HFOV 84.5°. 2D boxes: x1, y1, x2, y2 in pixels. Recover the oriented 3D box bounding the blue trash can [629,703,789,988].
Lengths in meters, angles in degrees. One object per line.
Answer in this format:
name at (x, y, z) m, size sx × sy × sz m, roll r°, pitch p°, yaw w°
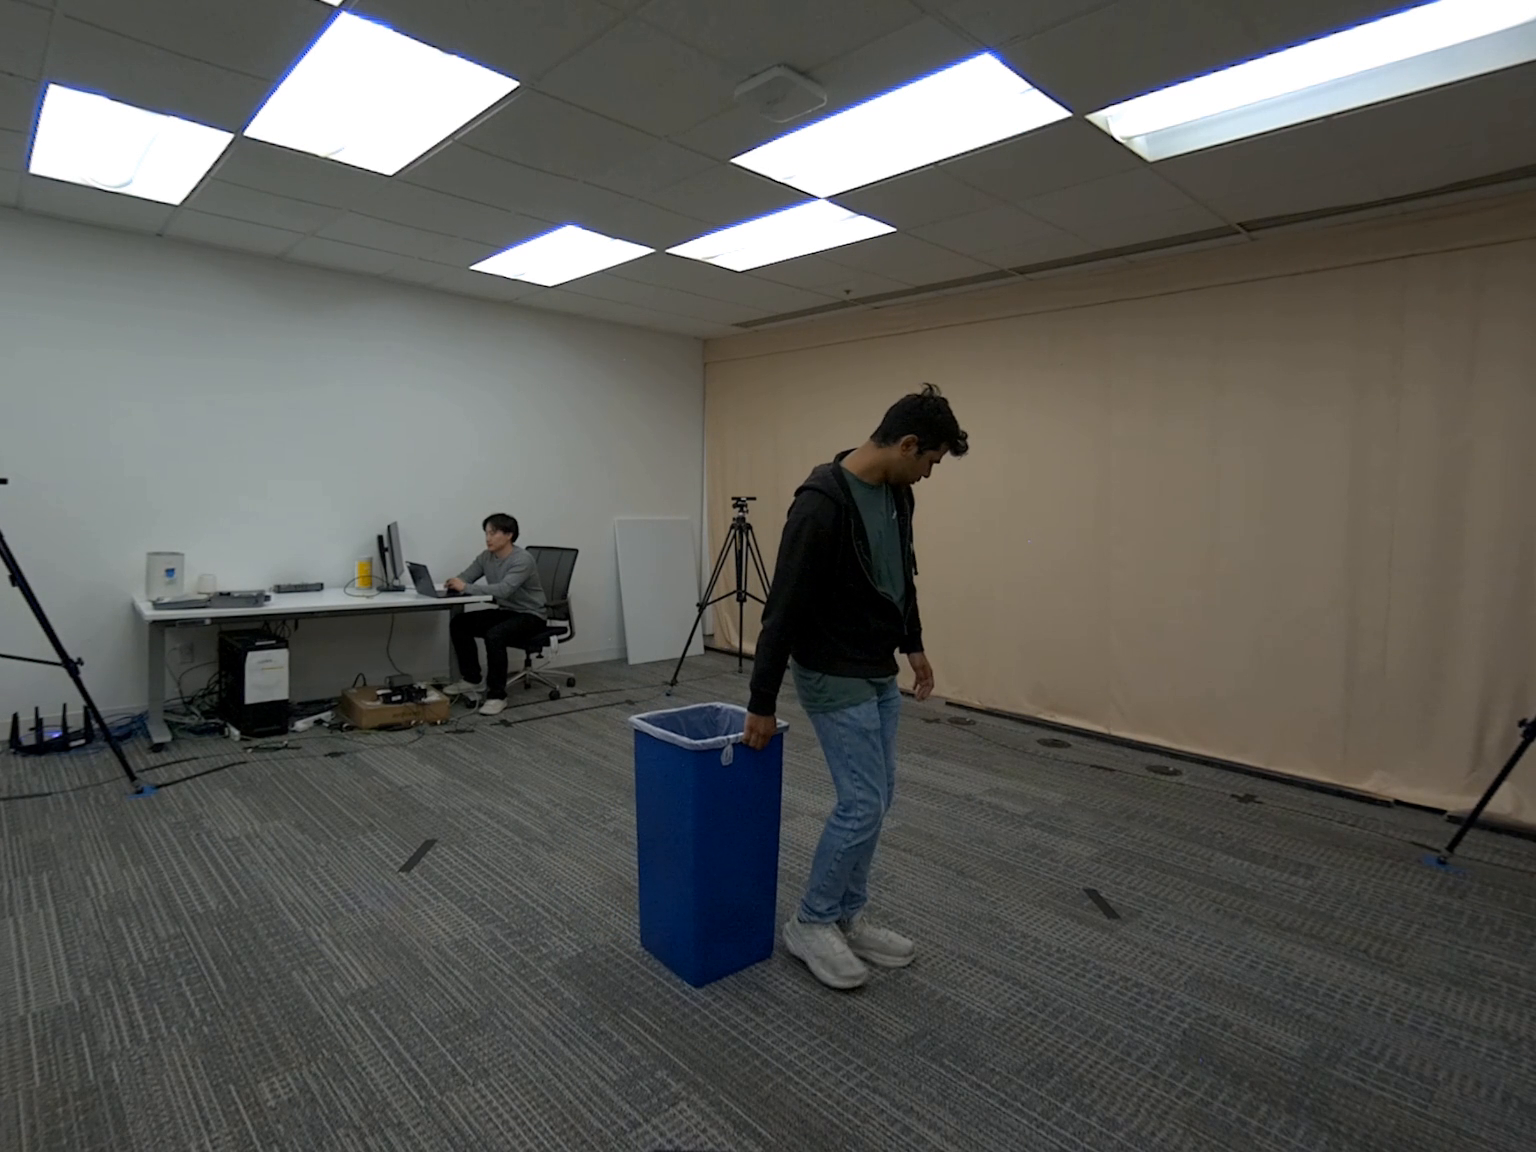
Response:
blue trash can at (-0.184, 0.791, 2.578) m, size 0.365 × 0.712 × 0.387 m, roll -2°, pitch 4°, yaw -41°
